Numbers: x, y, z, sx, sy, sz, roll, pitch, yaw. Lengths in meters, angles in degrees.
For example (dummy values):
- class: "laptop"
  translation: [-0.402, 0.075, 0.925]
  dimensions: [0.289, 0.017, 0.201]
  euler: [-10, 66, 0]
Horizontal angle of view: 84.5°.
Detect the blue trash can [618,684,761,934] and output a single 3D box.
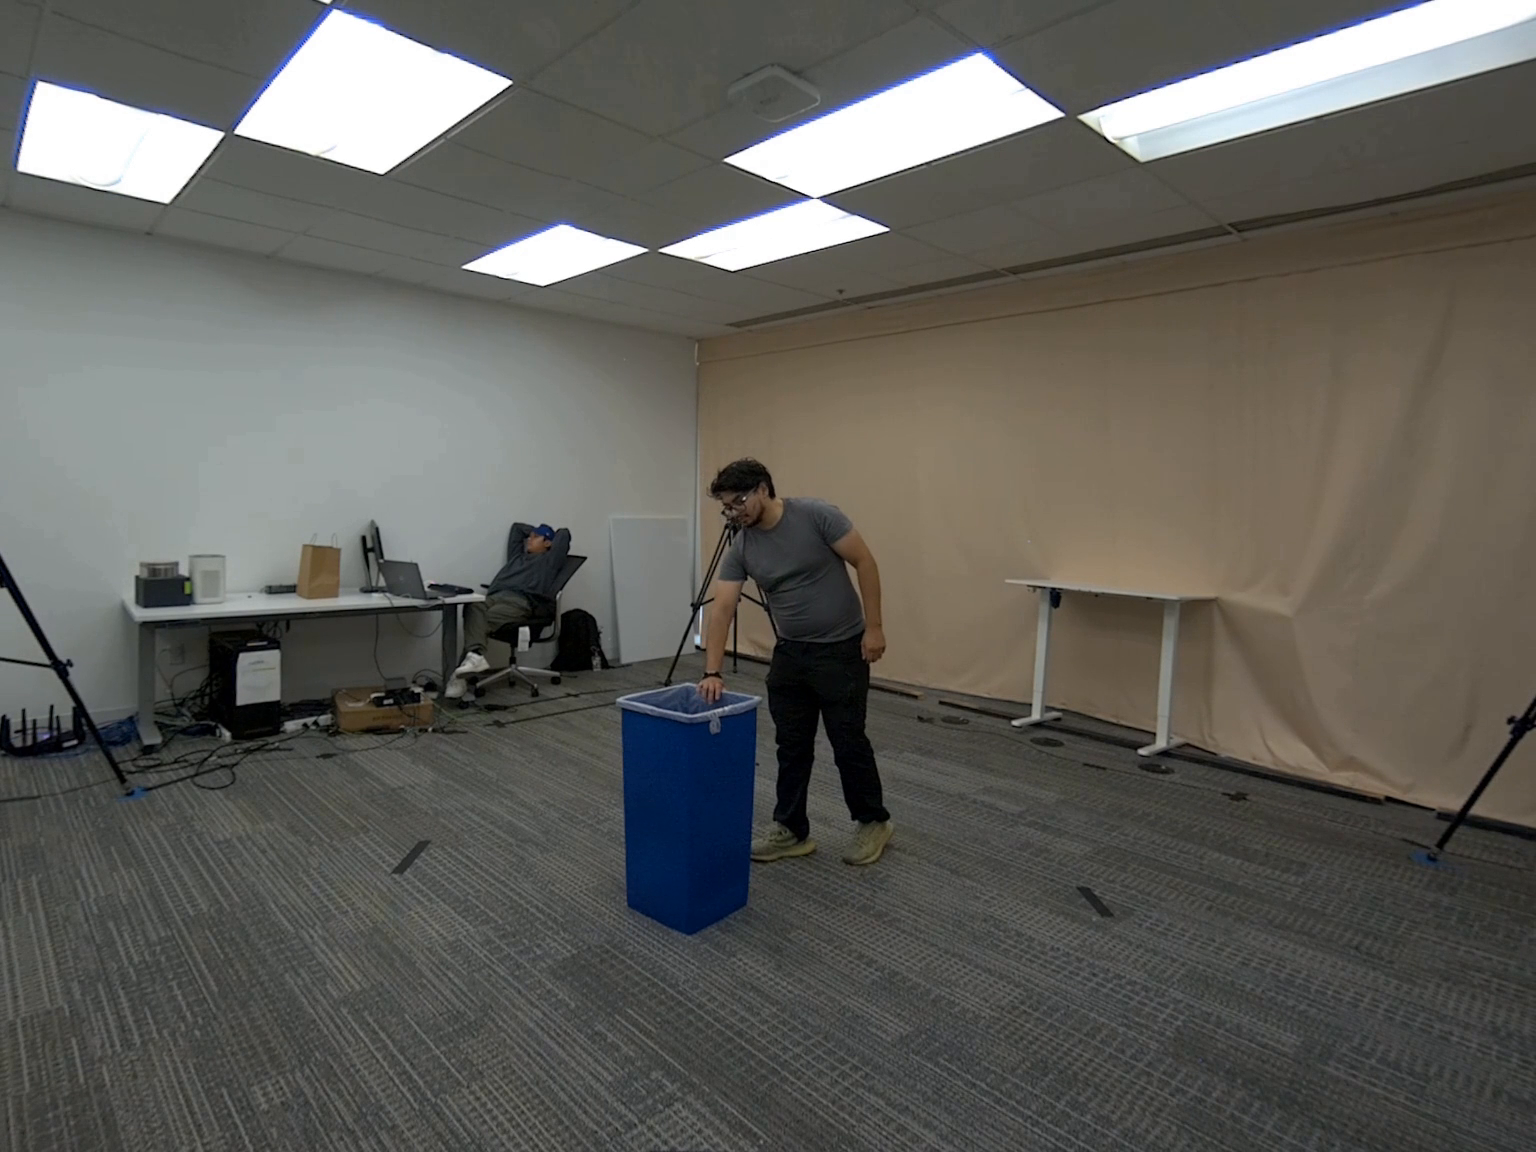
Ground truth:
- class: "blue trash can"
  translation: [-0.283, 0.767, 2.862]
  dimensions: [0.383, 0.712, 0.369]
  euler: [4, 4, 40]
